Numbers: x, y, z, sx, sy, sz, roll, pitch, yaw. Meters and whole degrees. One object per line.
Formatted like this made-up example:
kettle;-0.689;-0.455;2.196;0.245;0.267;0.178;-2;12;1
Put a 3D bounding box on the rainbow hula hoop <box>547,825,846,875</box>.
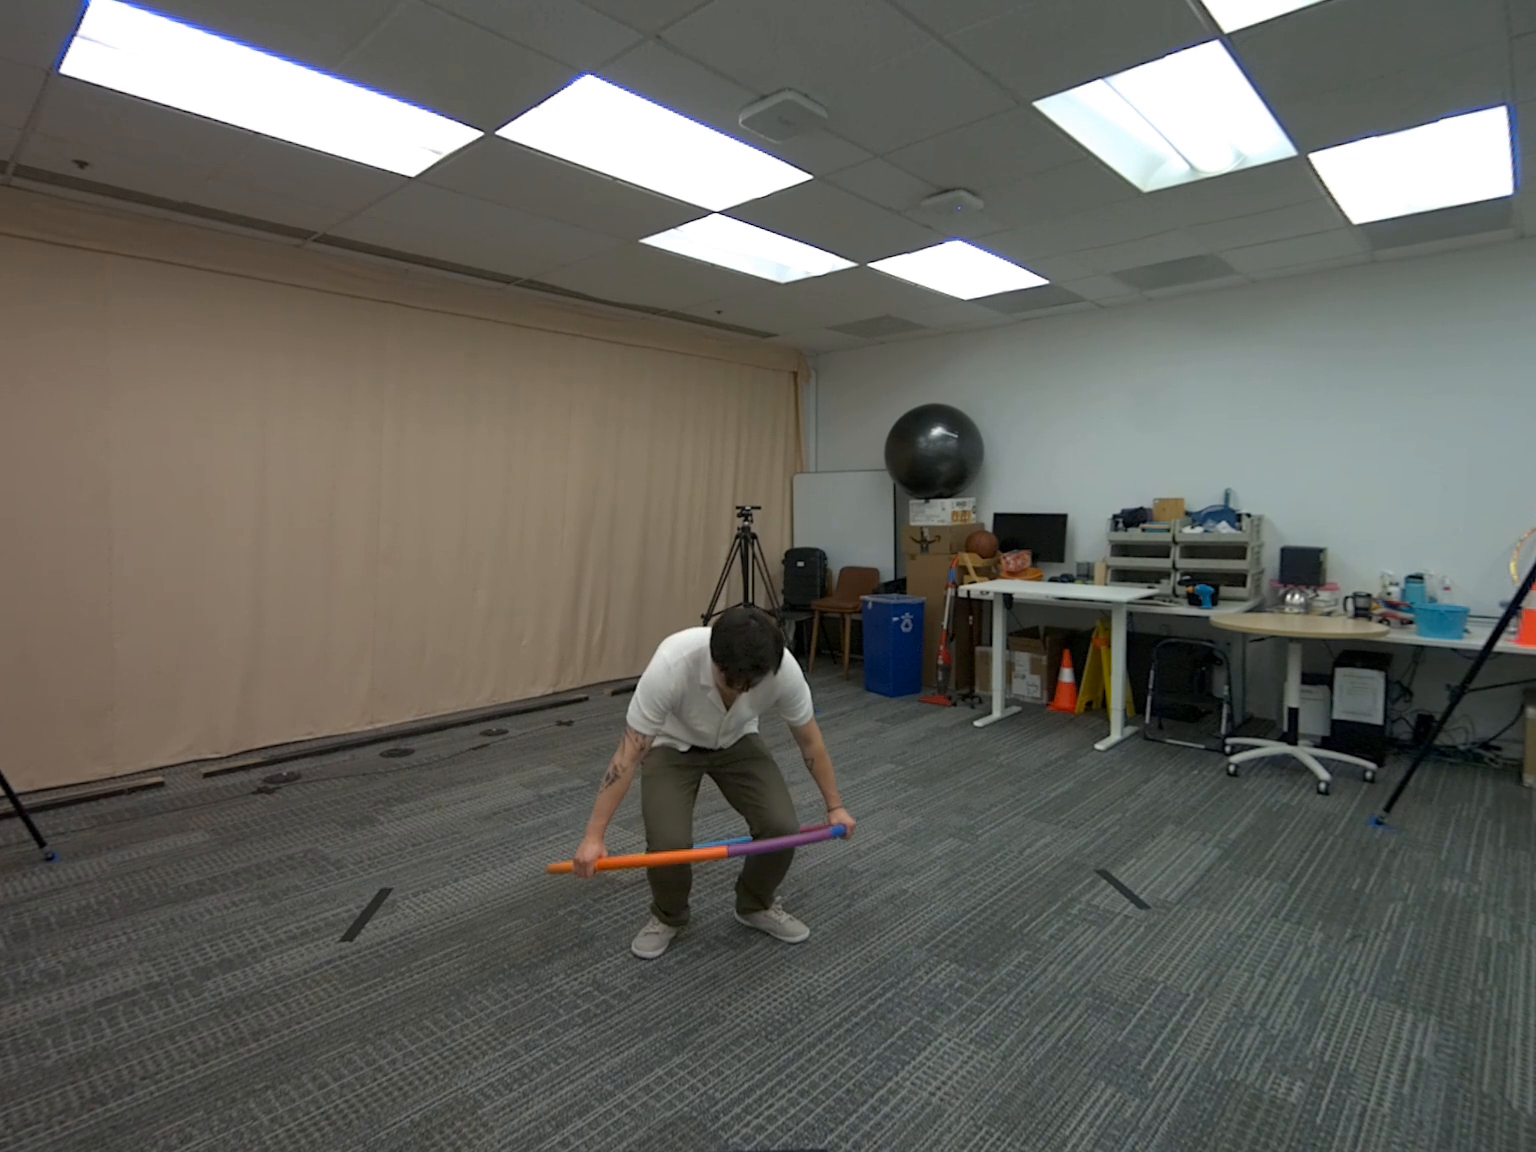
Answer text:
rainbow hula hoop;-0.231;0.891;2.754;0.975;0.036;0.969;-7;-16;-4
